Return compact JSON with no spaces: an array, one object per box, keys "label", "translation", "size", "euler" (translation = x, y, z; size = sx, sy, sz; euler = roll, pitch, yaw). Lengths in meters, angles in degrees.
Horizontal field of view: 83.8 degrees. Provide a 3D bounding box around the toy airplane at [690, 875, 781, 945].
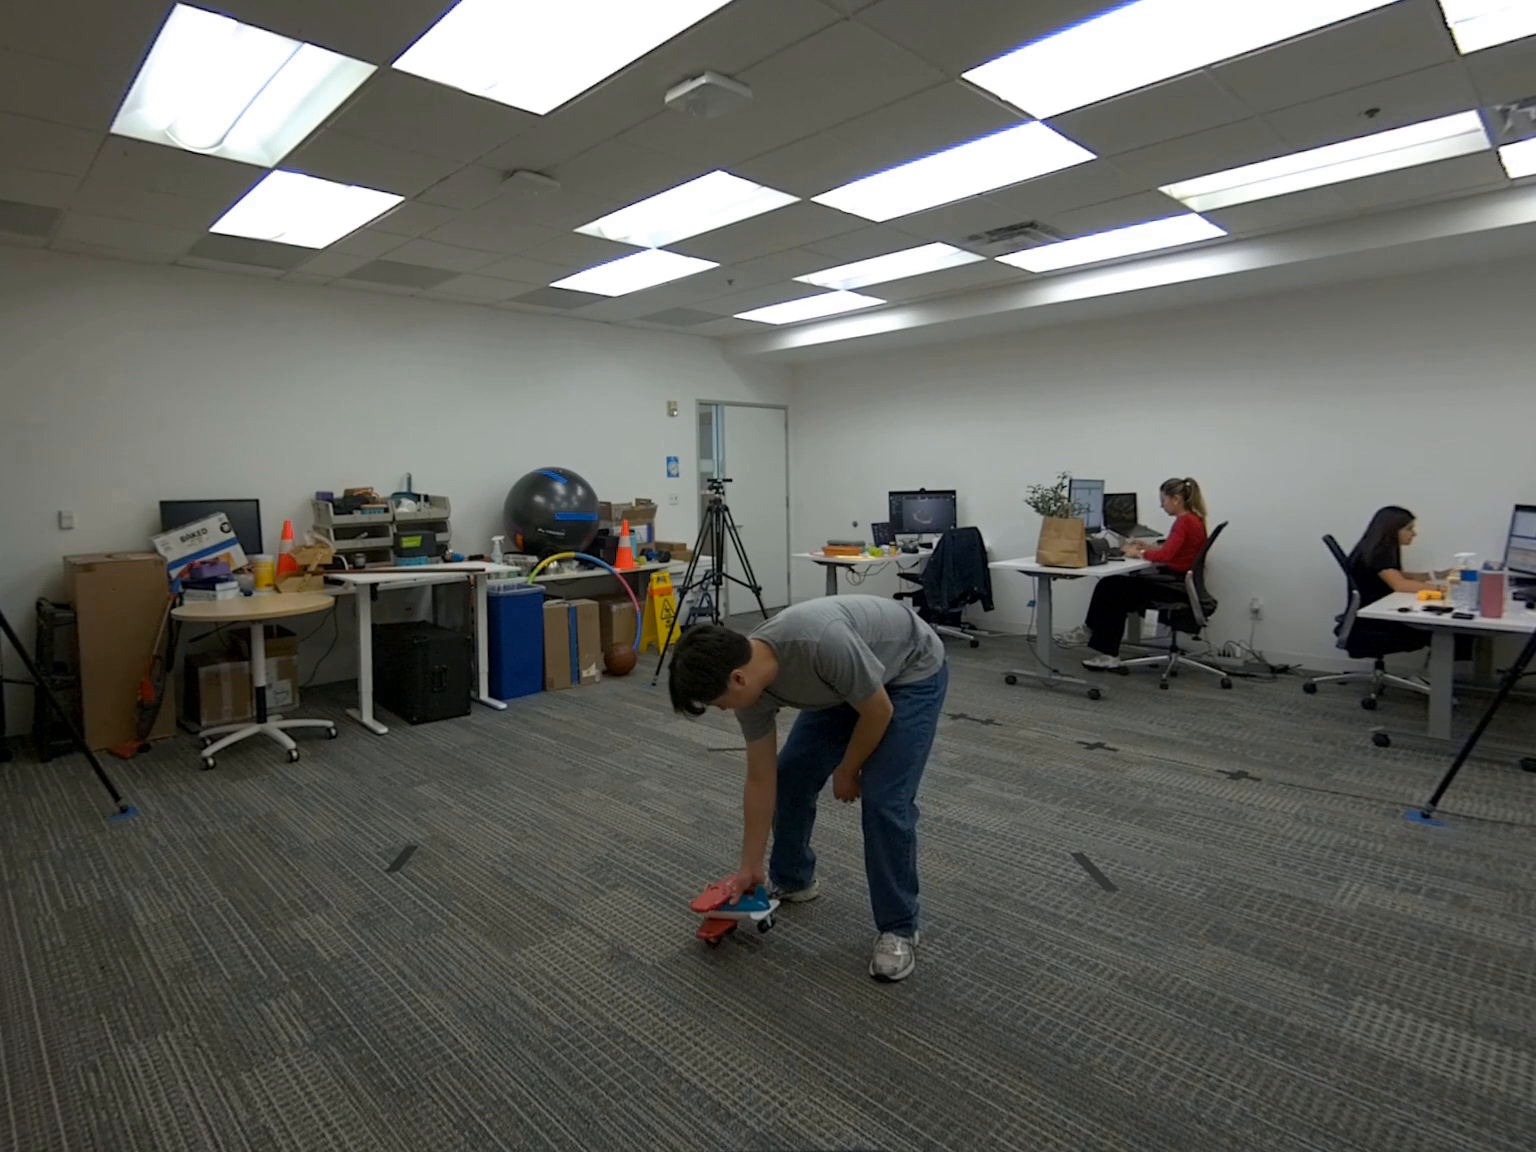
[{"label":"toy airplane","translation":[-0.088,1.006,2.583],"size":[0.260,0.158,0.248],"euler":[-24,-7,3]}]
